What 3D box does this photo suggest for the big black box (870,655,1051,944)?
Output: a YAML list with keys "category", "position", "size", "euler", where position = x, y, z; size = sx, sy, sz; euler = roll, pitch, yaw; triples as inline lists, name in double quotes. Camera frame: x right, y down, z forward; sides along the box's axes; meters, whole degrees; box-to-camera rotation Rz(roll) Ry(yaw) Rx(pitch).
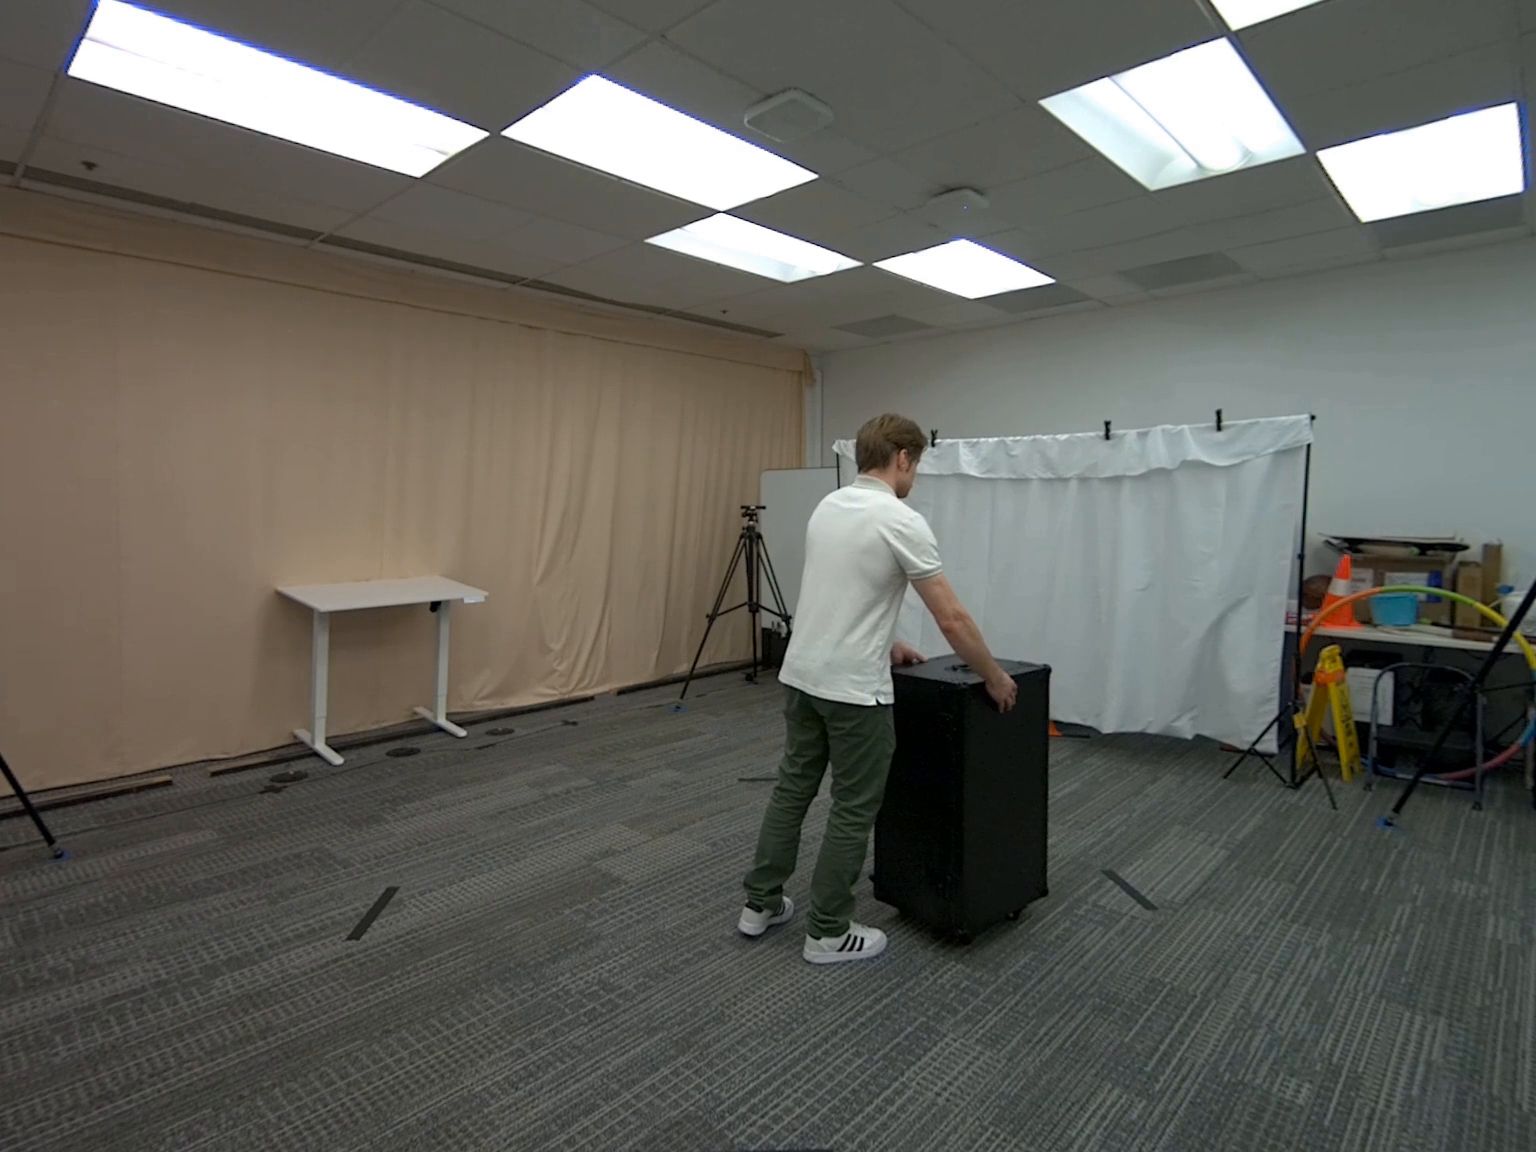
- category: "big black box"
  position: [0.652, 0.740, 2.825]
  size: [0.507, 0.867, 0.398]
  euler: [-2, 4, -40]
